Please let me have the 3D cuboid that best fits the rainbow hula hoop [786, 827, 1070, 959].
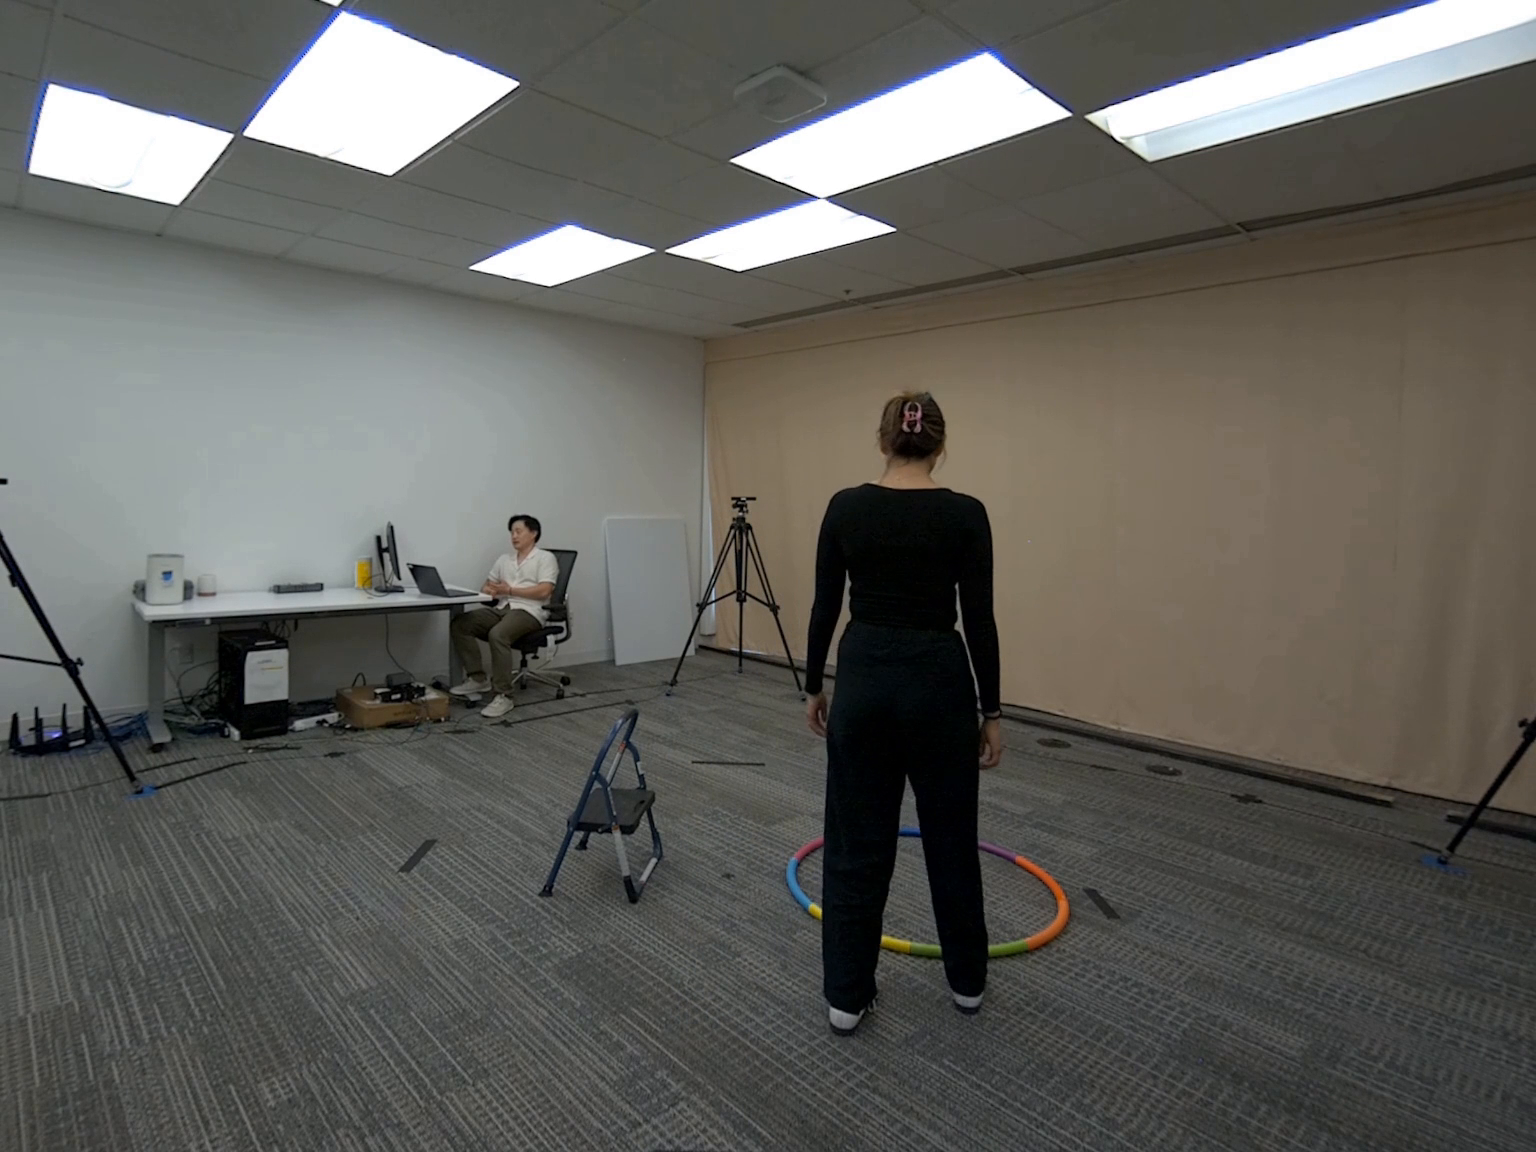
[{"bbox_3d":[0.543,1.094,3.054,0.978,0.035,0.982,1,5,-1],"label":"rainbow hula hoop"}]
